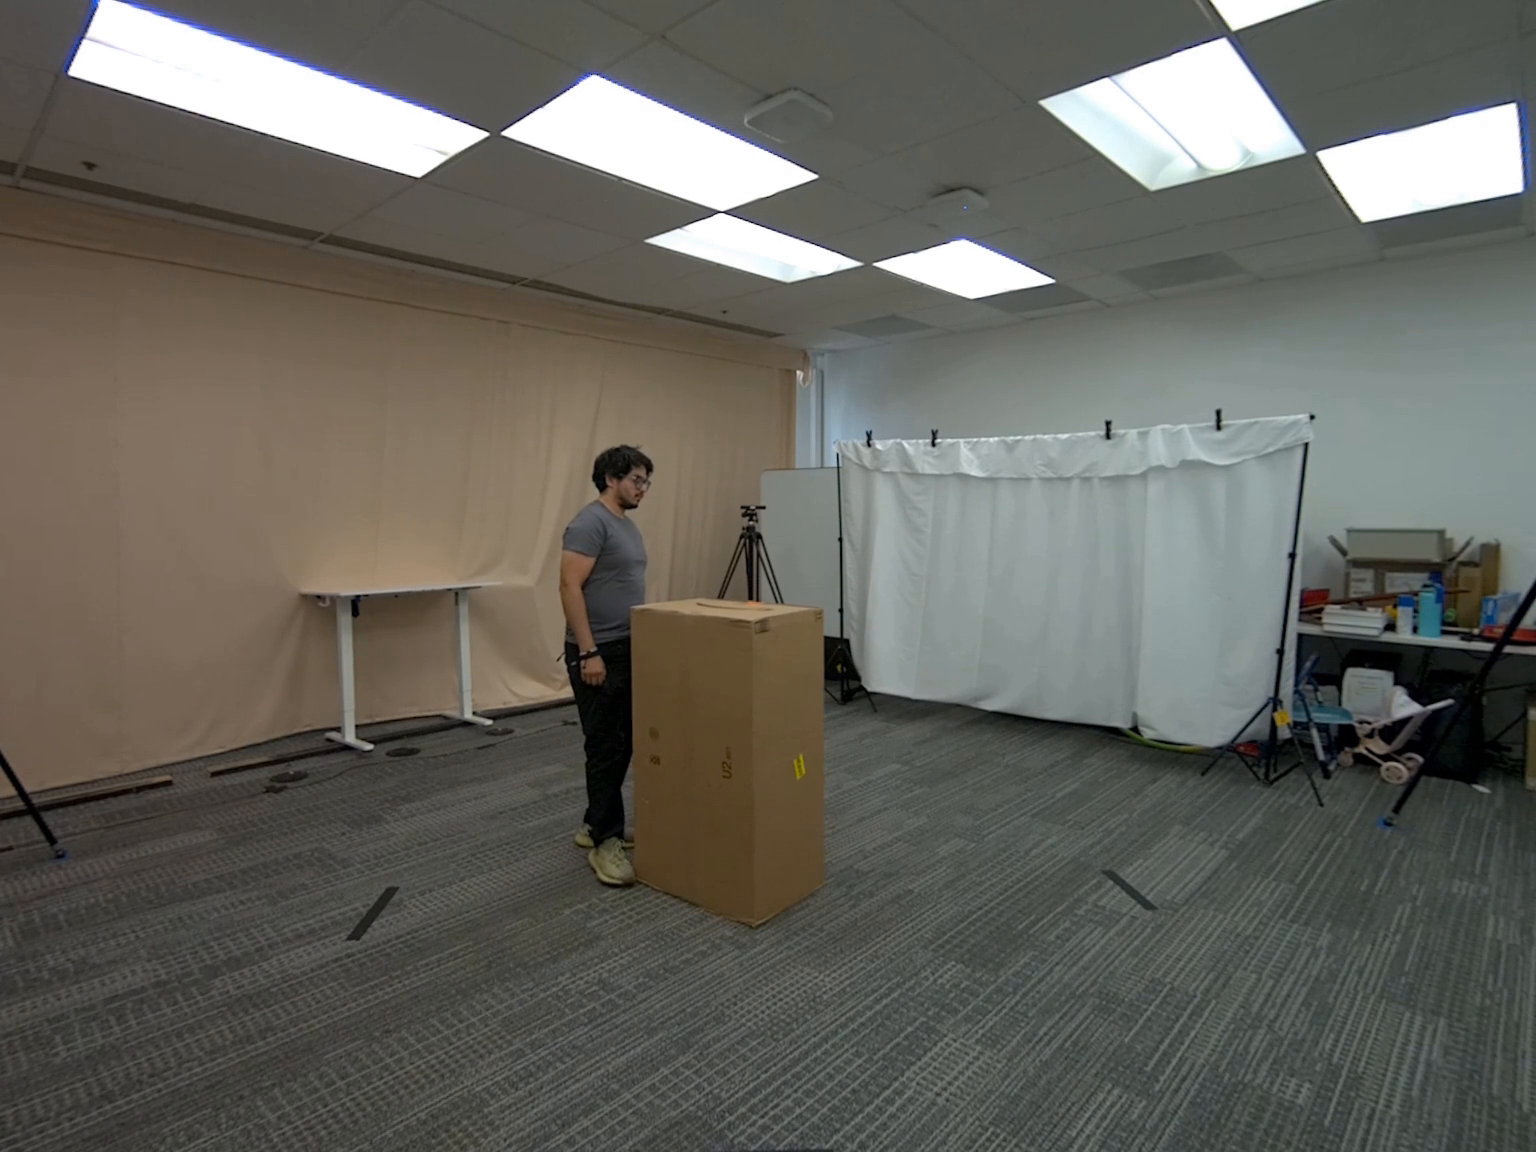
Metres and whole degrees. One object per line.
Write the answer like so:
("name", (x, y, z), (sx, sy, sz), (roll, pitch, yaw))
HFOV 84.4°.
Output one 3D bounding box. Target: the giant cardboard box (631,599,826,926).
("giant cardboard box", (-0.146, 0.630, 3.090), (0.603, 1.025, 0.434), (2, 4, 37))
